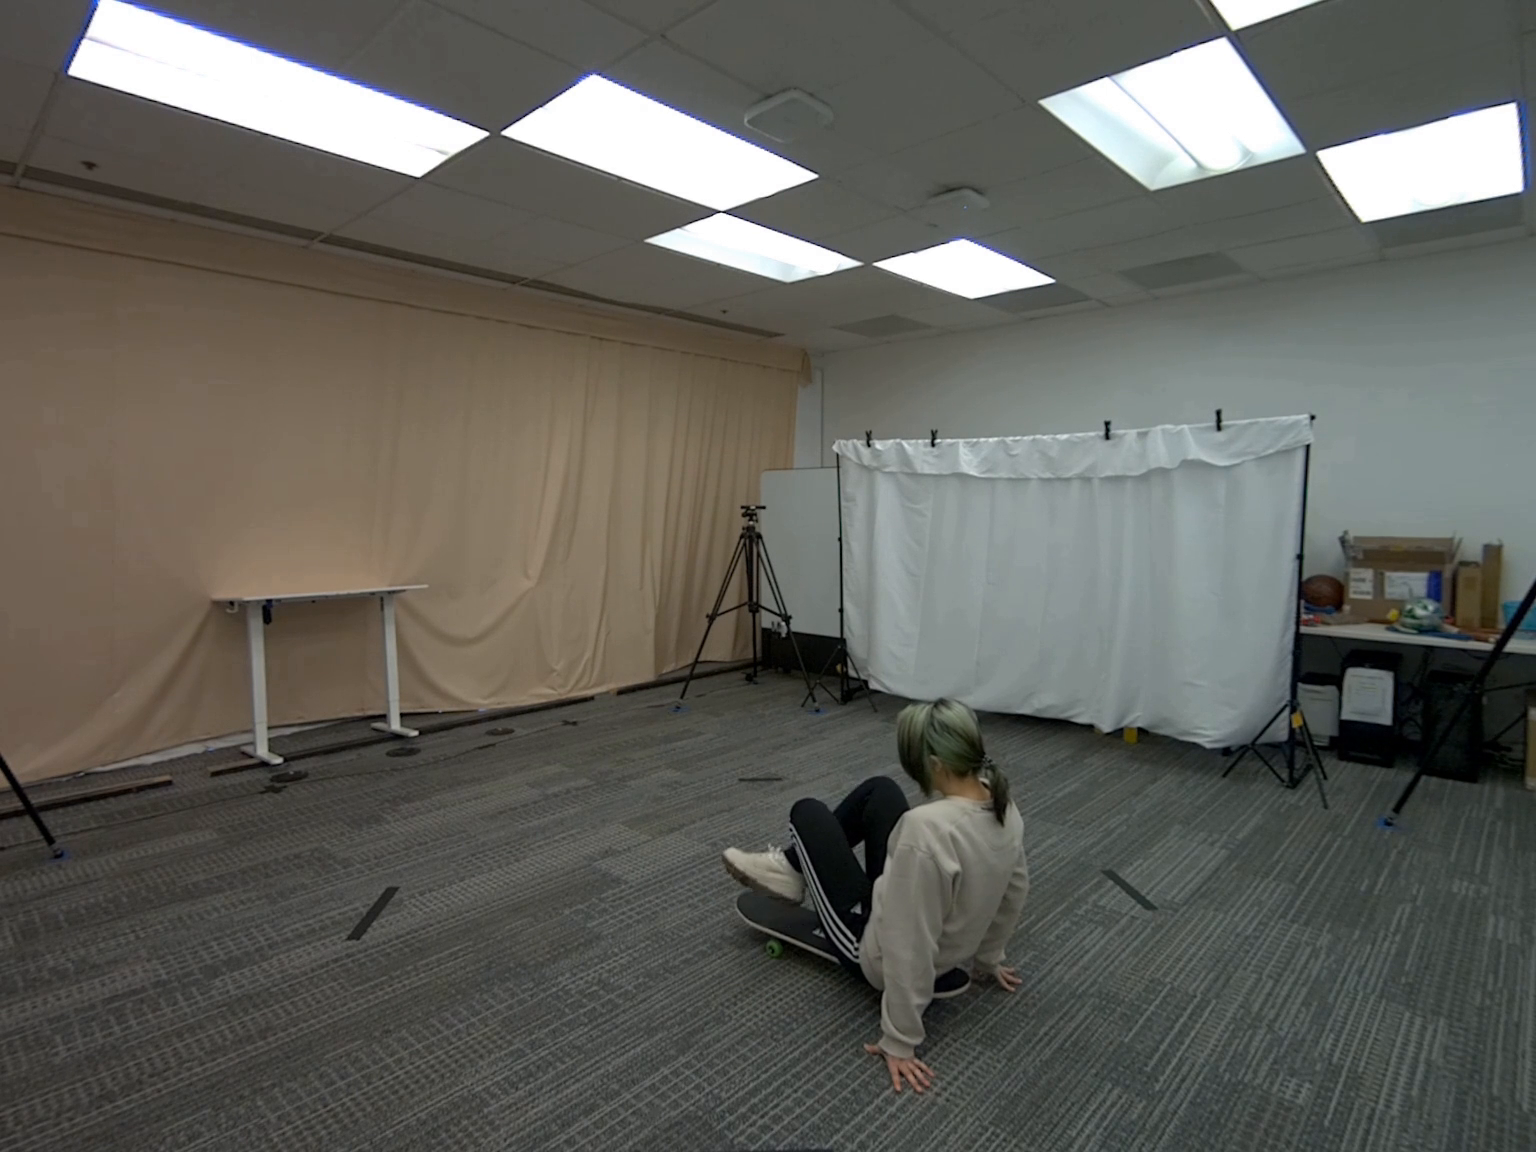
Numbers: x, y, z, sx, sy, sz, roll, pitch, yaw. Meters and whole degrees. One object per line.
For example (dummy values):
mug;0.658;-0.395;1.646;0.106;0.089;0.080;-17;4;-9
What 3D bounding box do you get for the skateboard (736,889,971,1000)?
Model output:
skateboard;0.230;1.133;2.525;0.811;0.110;0.187;4;6;39
